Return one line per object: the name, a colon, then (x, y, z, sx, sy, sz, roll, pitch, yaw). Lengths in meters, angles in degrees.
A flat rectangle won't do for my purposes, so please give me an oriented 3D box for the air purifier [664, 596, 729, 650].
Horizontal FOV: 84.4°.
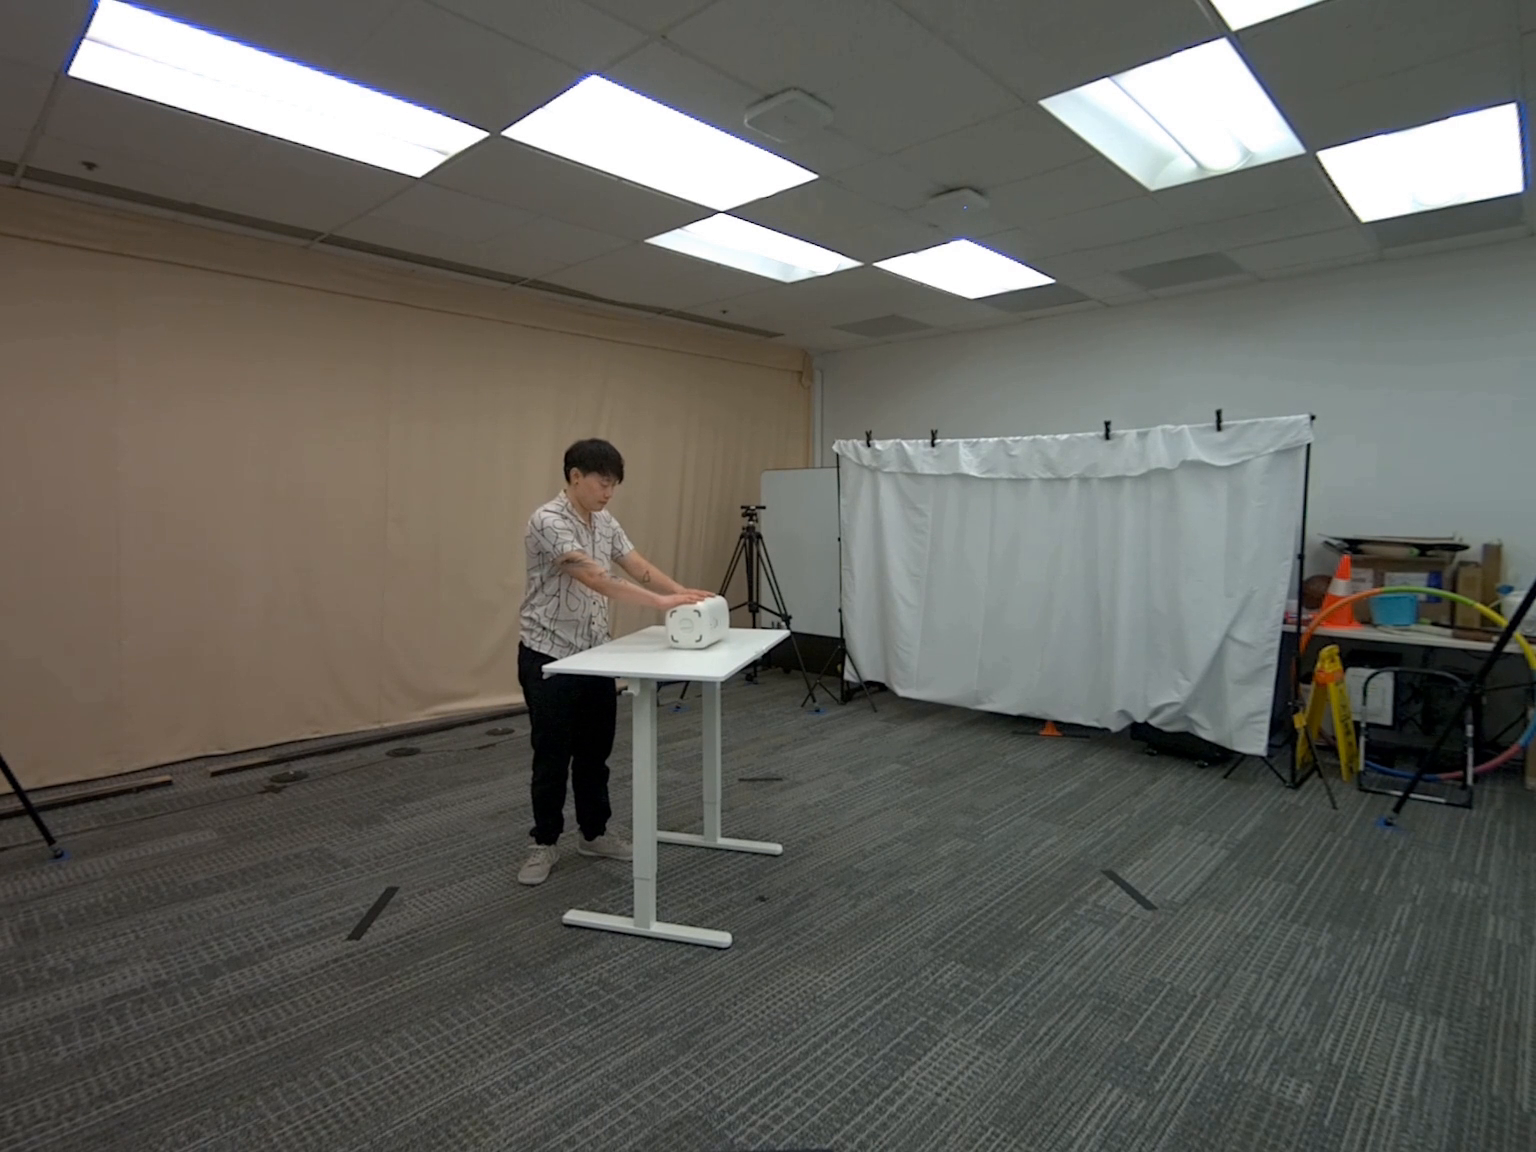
air purifier: (-0.259, 0.167, 3.092, 0.174, 0.171, 0.261, -3, 2, 16)
